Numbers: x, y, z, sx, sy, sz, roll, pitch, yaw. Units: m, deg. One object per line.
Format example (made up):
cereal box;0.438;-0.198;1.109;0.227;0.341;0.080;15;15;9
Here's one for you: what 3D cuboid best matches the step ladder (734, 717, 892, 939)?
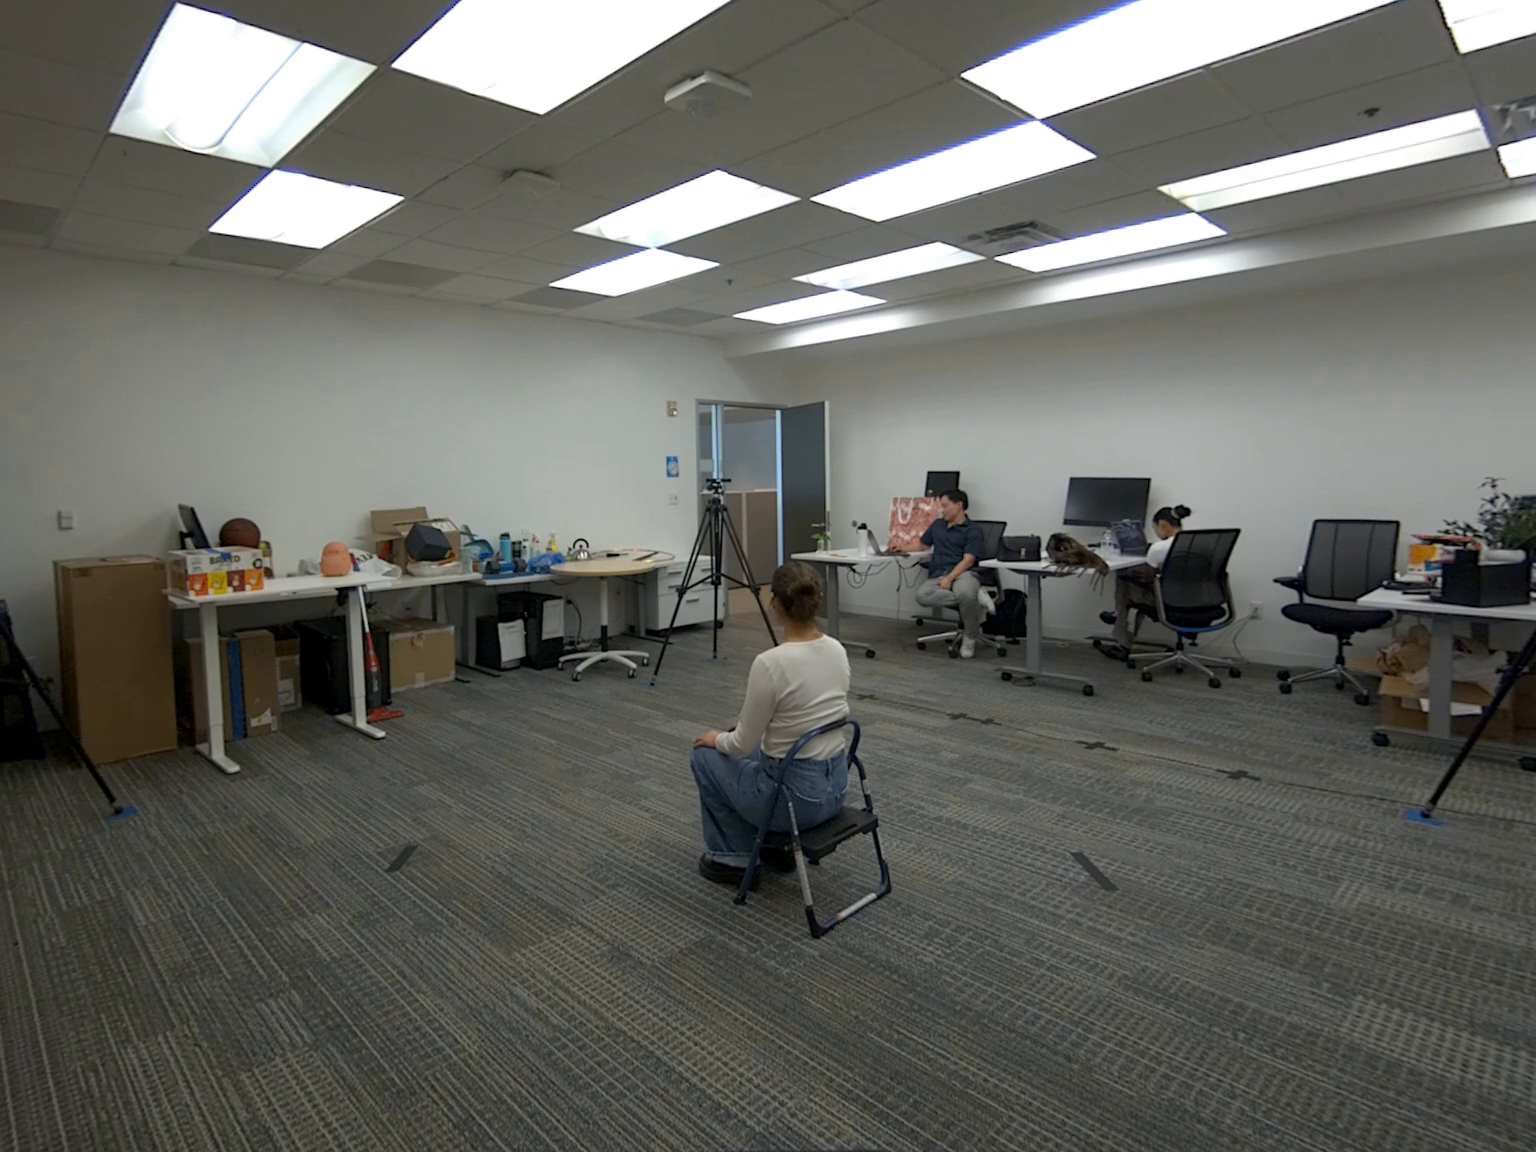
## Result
step ladder;0.153;0.767;2.828;0.360;0.604;0.419;3;6;42
